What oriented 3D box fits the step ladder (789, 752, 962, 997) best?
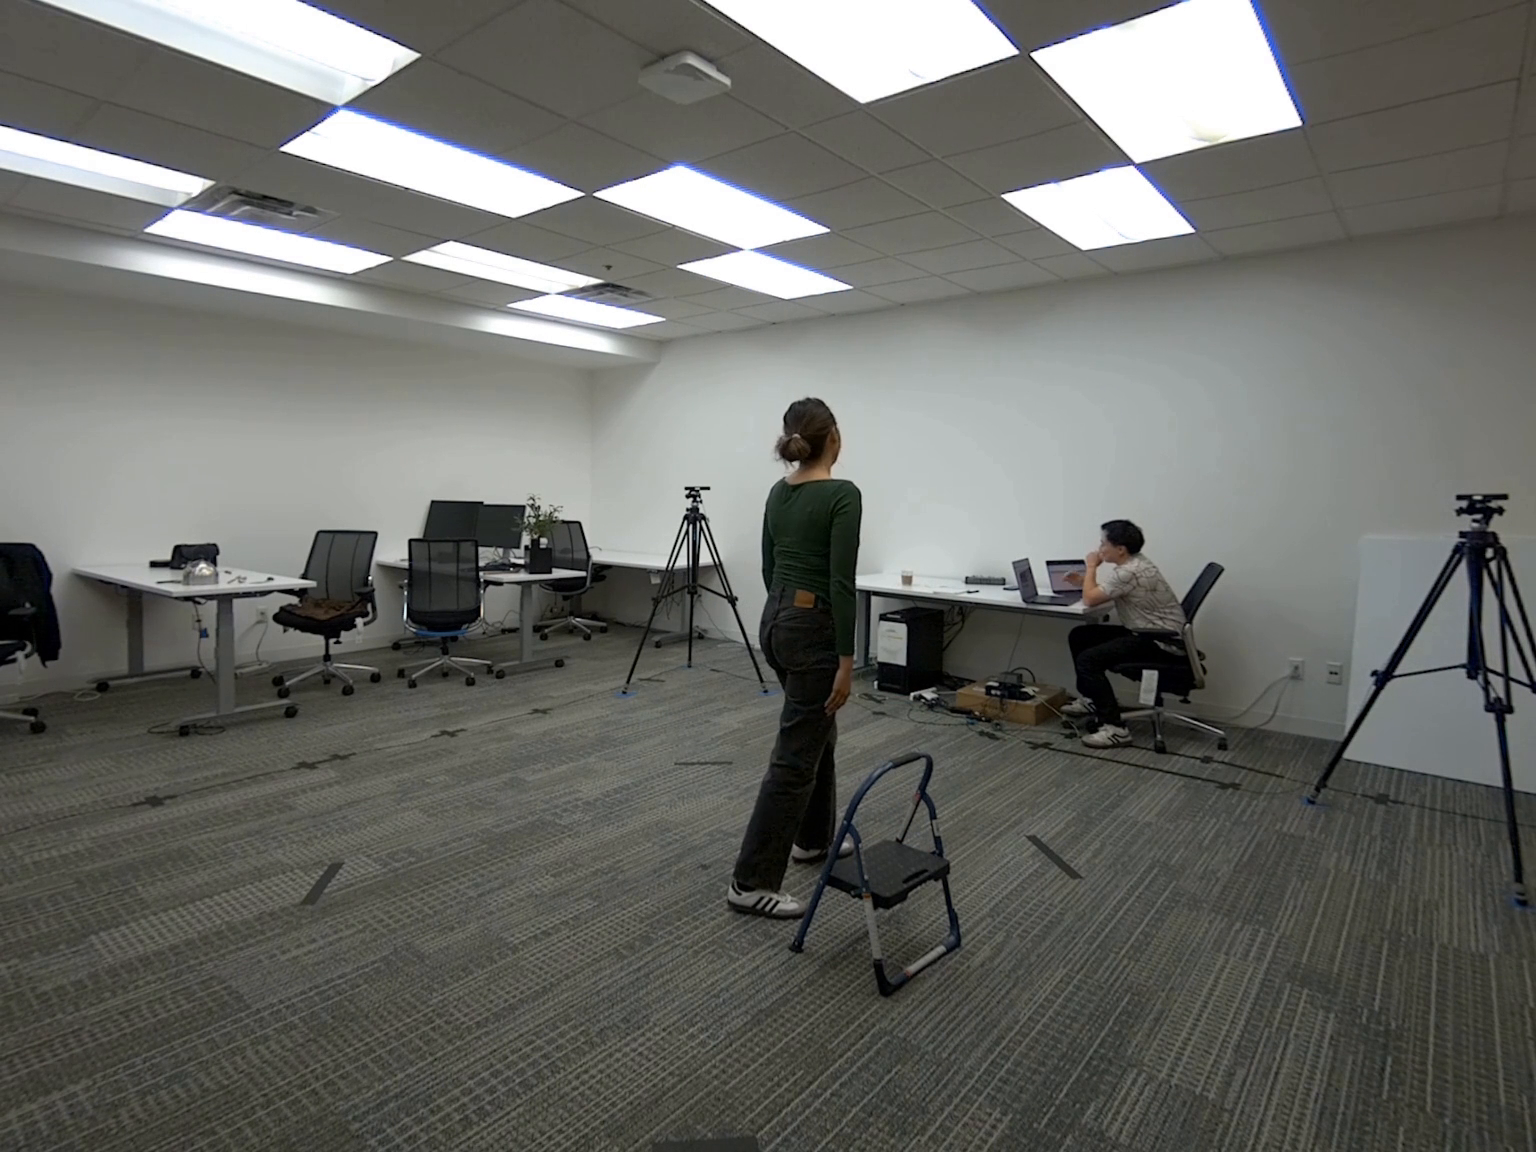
[{"bbox_3d":[0.333,0.826,2.580,0.361,0.604,0.417,4,4,42],"label":"step ladder"}]
